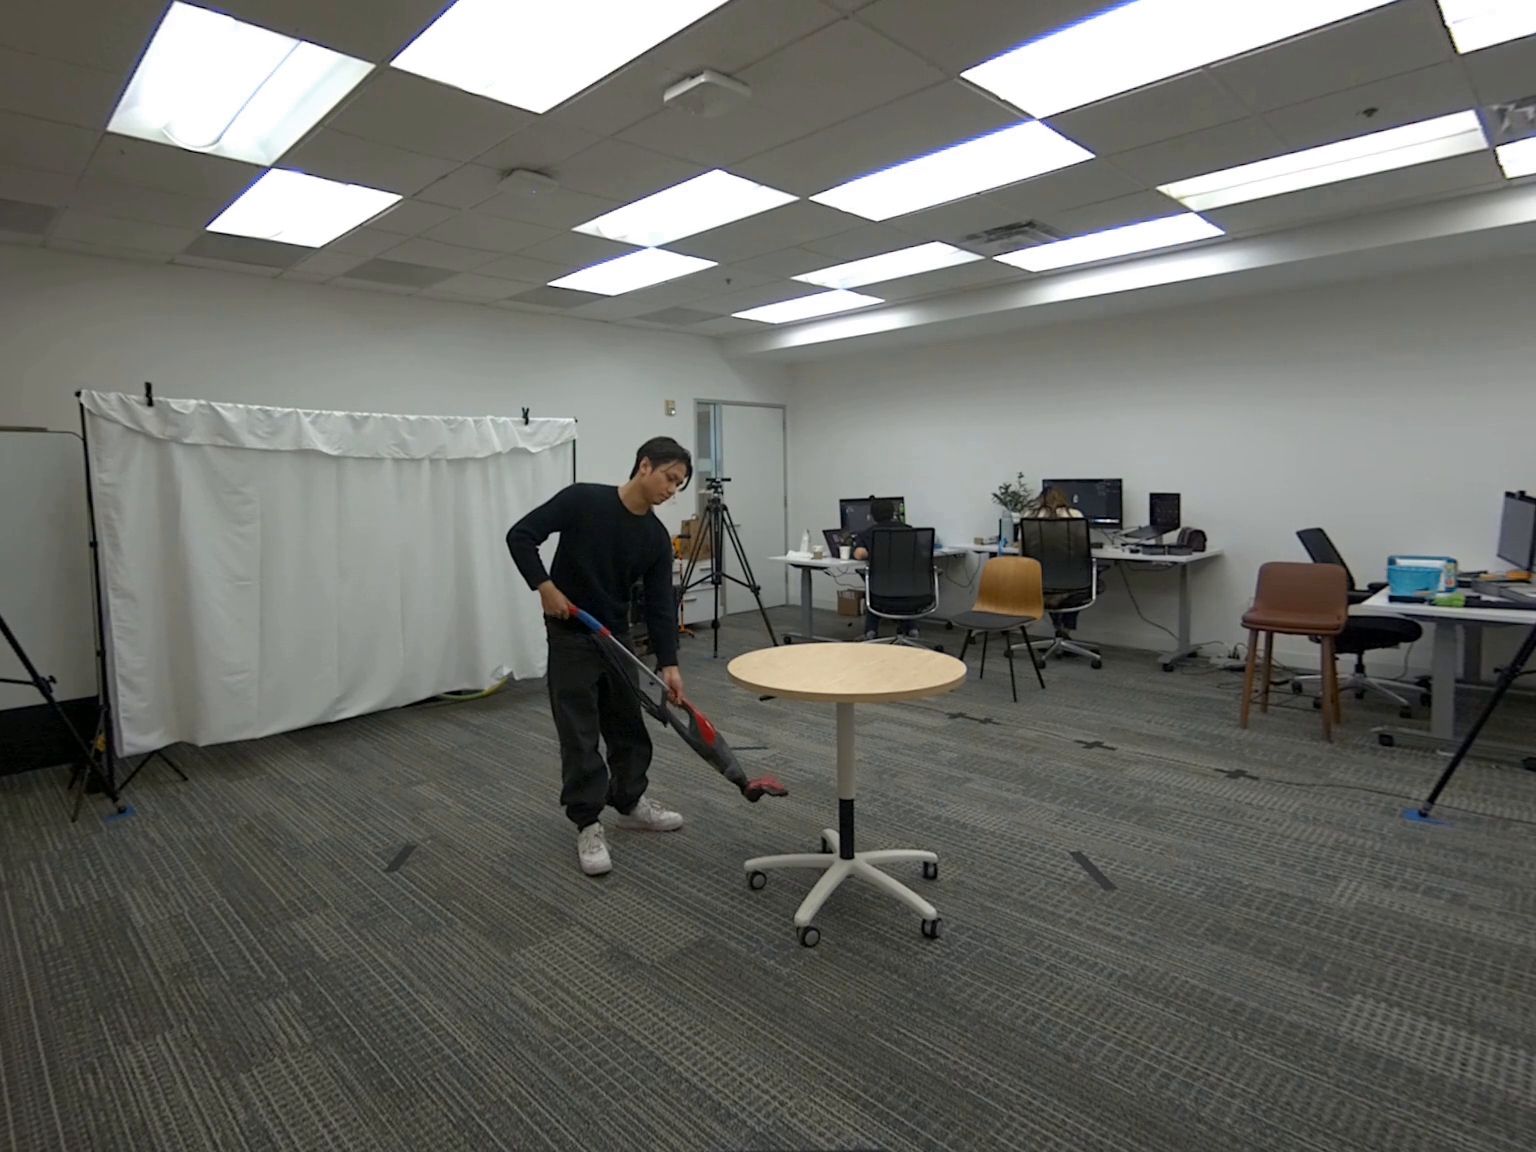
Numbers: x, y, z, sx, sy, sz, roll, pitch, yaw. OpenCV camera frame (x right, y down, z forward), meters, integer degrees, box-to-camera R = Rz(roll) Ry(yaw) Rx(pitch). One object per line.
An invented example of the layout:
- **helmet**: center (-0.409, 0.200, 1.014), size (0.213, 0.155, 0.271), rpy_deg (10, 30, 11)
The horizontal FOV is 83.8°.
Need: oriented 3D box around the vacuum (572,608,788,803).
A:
- **vacuum**: center (-0.388, 0.453, 3.138), size (1.038, 0.144, 0.255), rpy_deg (43, -10, -8)
